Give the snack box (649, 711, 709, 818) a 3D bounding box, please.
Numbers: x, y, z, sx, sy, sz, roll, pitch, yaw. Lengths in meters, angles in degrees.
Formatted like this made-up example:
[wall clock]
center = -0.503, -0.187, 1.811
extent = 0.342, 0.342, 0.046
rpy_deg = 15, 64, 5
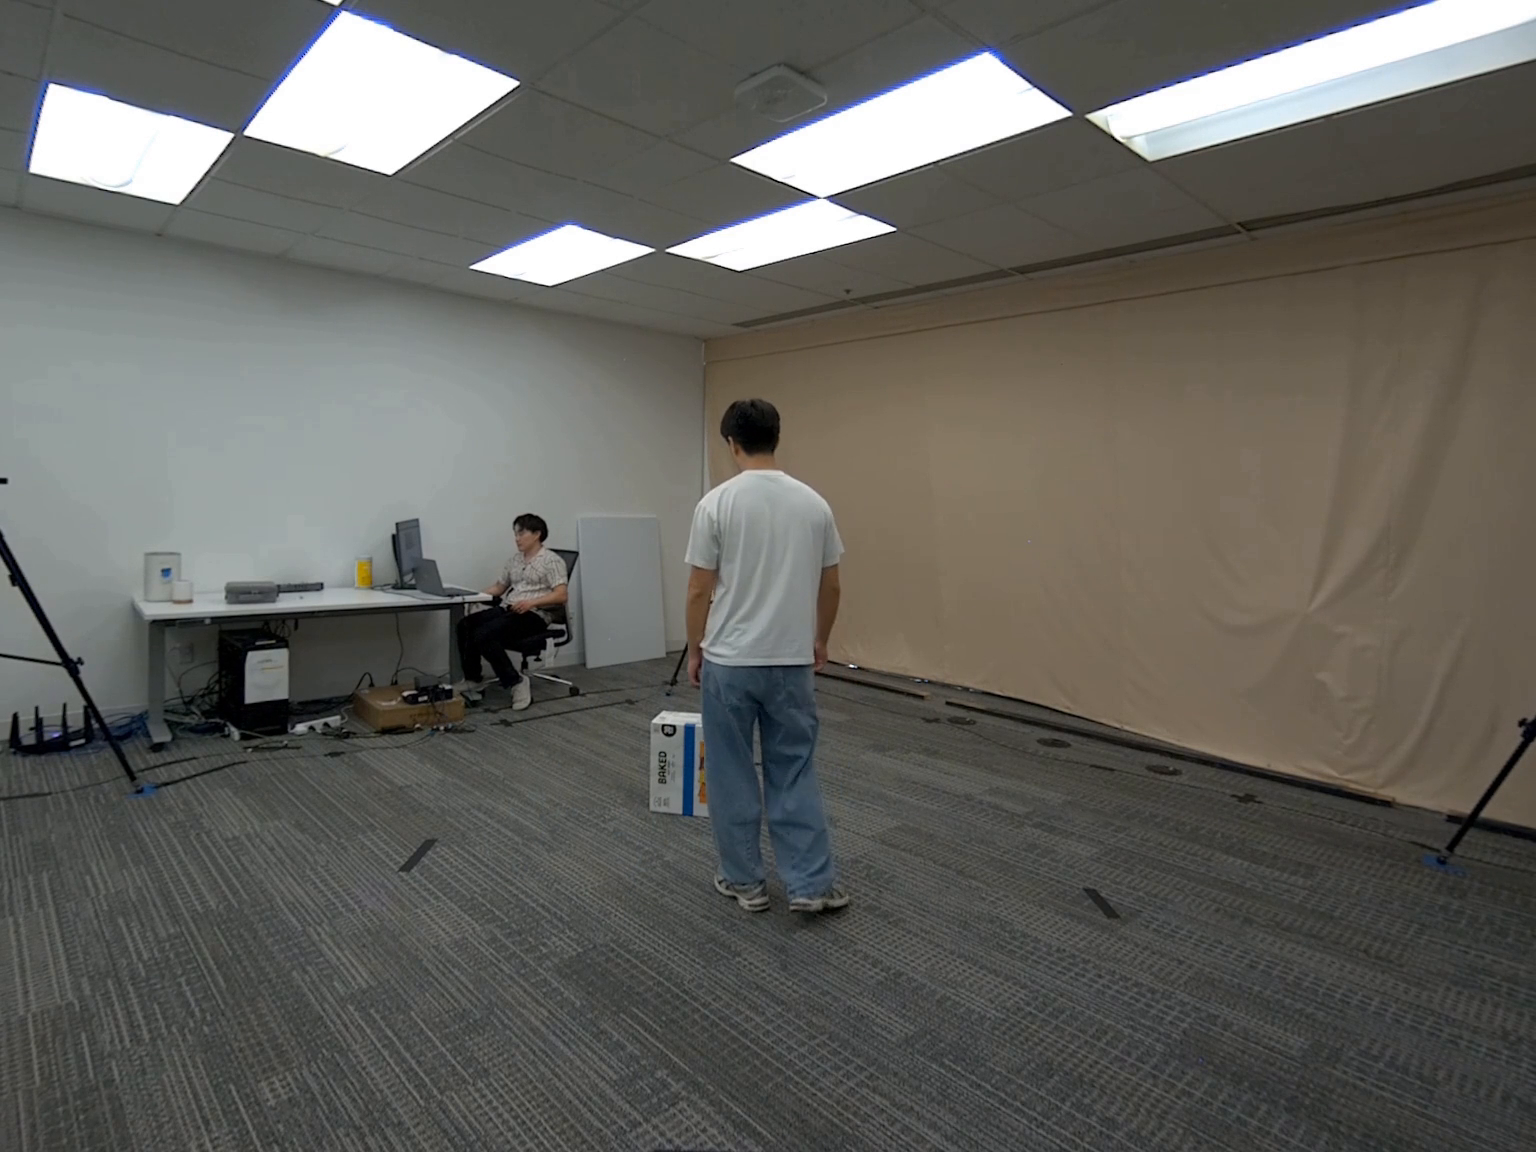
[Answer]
[snack box]
center = -0.351, 0.841, 3.777
extent = 0.343, 0.404, 0.204
rpy_deg = 3, 5, 11
